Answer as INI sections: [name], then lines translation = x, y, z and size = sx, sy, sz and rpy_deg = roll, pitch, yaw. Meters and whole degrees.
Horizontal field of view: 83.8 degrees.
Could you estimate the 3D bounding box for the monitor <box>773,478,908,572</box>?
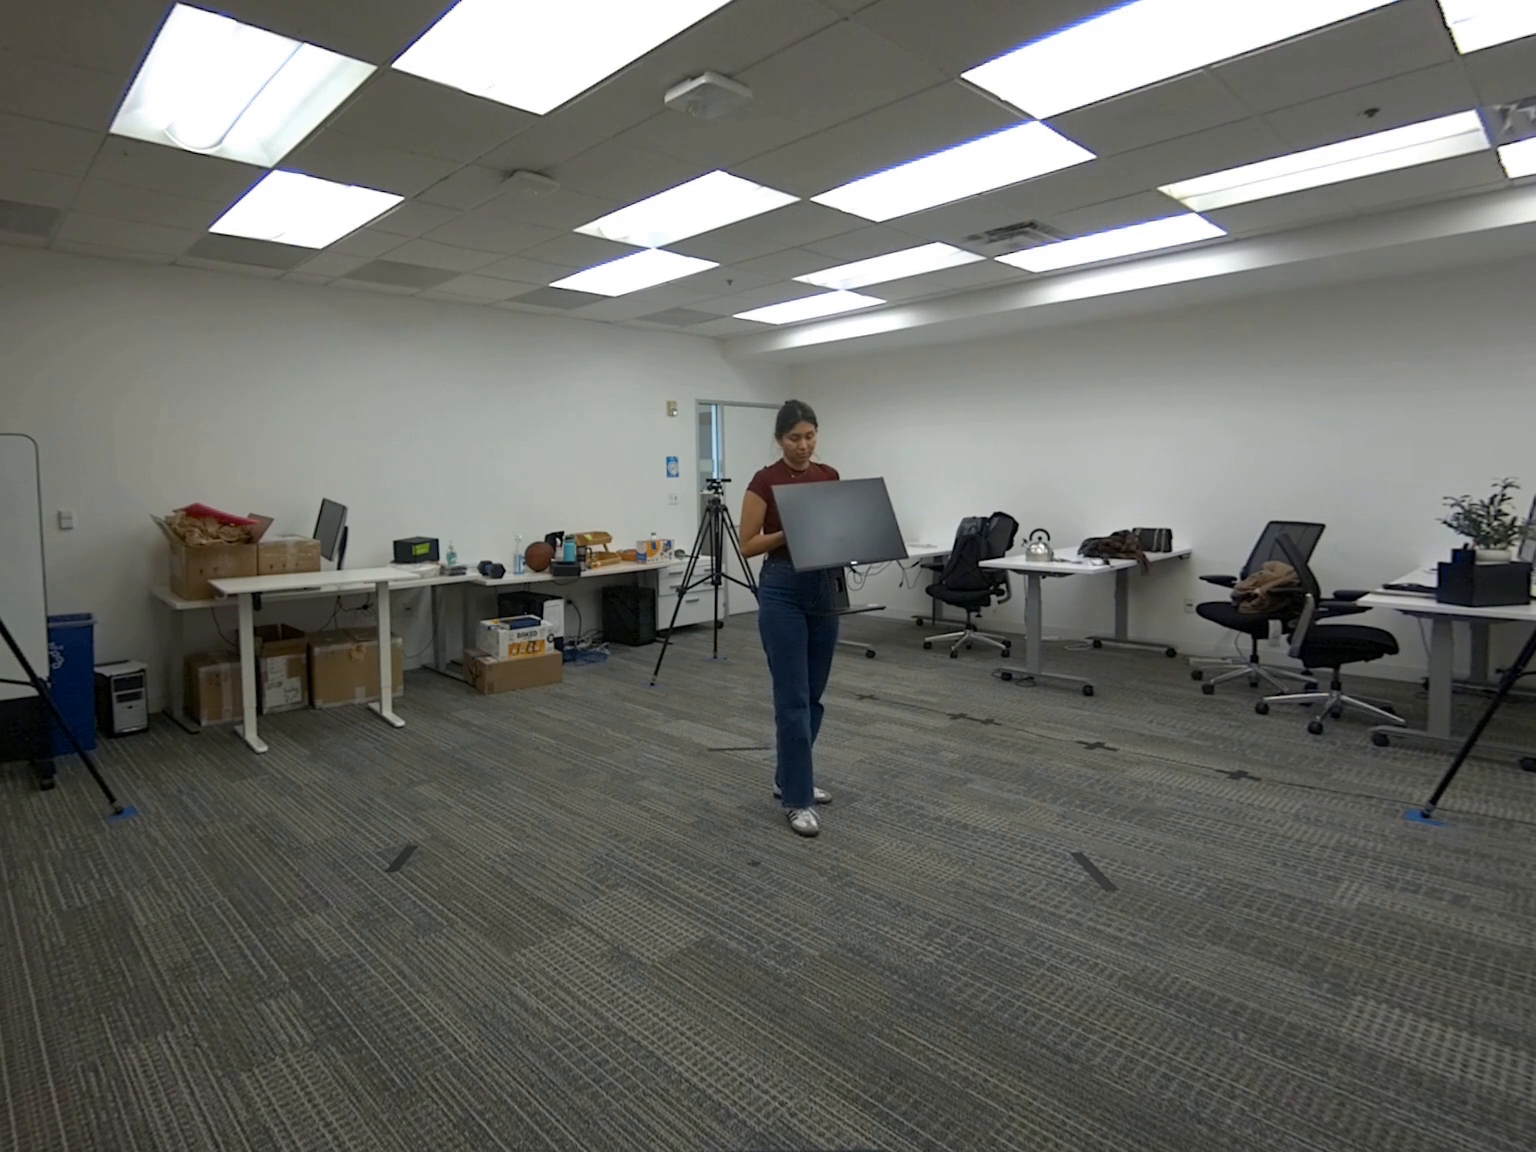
[monitor]
translation = 0.284, -0.109, 3.345
size = 0.527, 0.525, 0.190
rpy_deg = -7, -4, -31
